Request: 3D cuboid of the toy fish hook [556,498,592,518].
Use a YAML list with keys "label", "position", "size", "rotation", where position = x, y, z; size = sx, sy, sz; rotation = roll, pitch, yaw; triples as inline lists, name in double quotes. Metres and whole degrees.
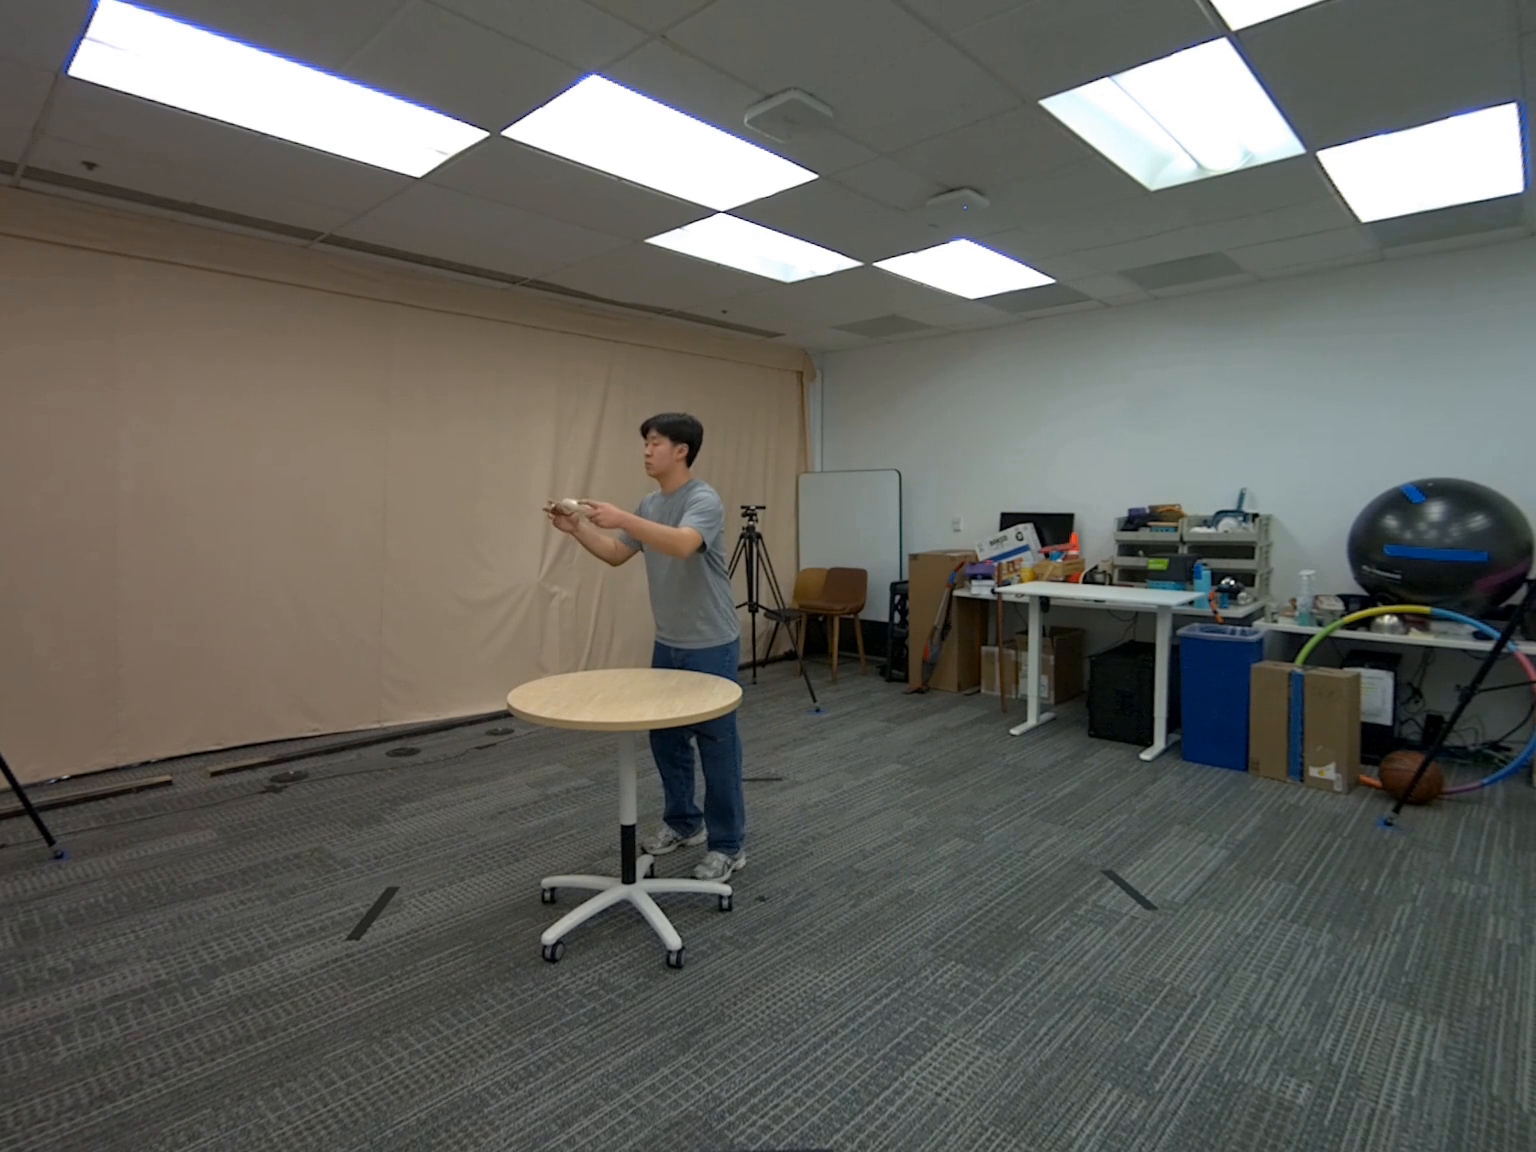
- label: "toy fish hook"
  position: [-0.669, -0.217, 3.073]
  size: [0.218, 0.048, 0.521]
  rotation: [32, -11, -26]
